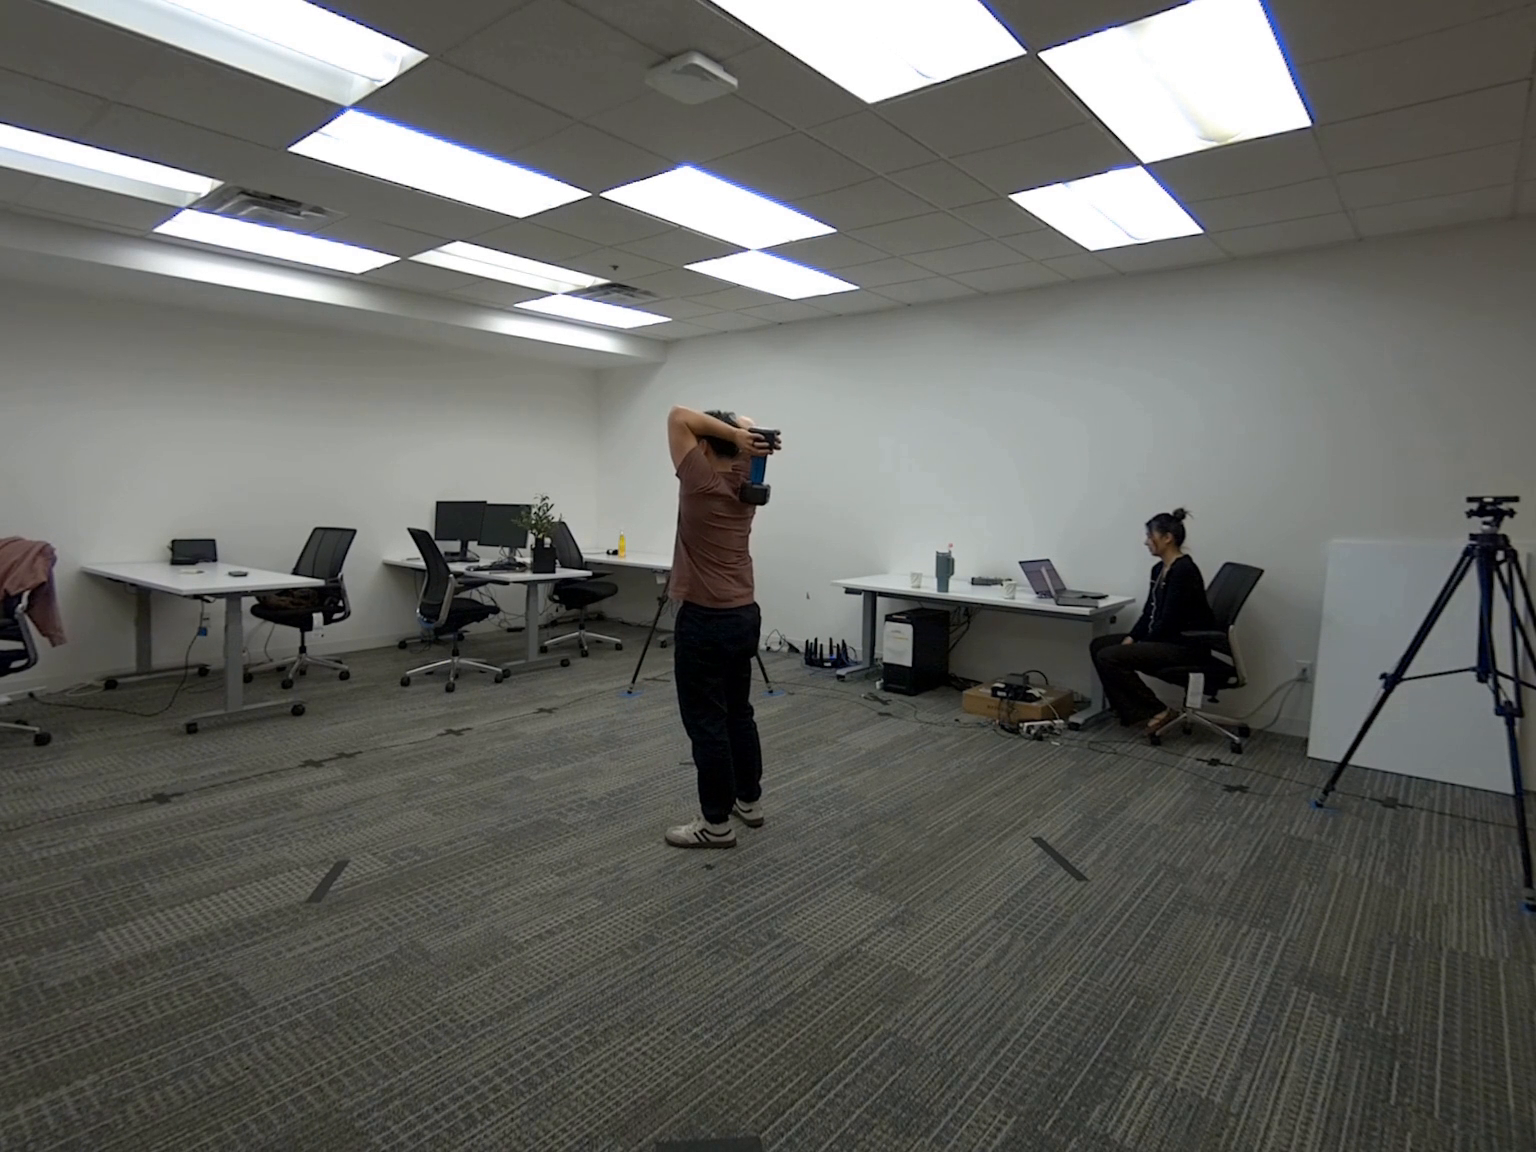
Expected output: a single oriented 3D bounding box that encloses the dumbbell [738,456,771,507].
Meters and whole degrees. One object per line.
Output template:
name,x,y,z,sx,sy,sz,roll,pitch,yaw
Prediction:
dumbbell,-0.054,-0.436,3.266,0.106,0.290,0.128,-7,16,-43
